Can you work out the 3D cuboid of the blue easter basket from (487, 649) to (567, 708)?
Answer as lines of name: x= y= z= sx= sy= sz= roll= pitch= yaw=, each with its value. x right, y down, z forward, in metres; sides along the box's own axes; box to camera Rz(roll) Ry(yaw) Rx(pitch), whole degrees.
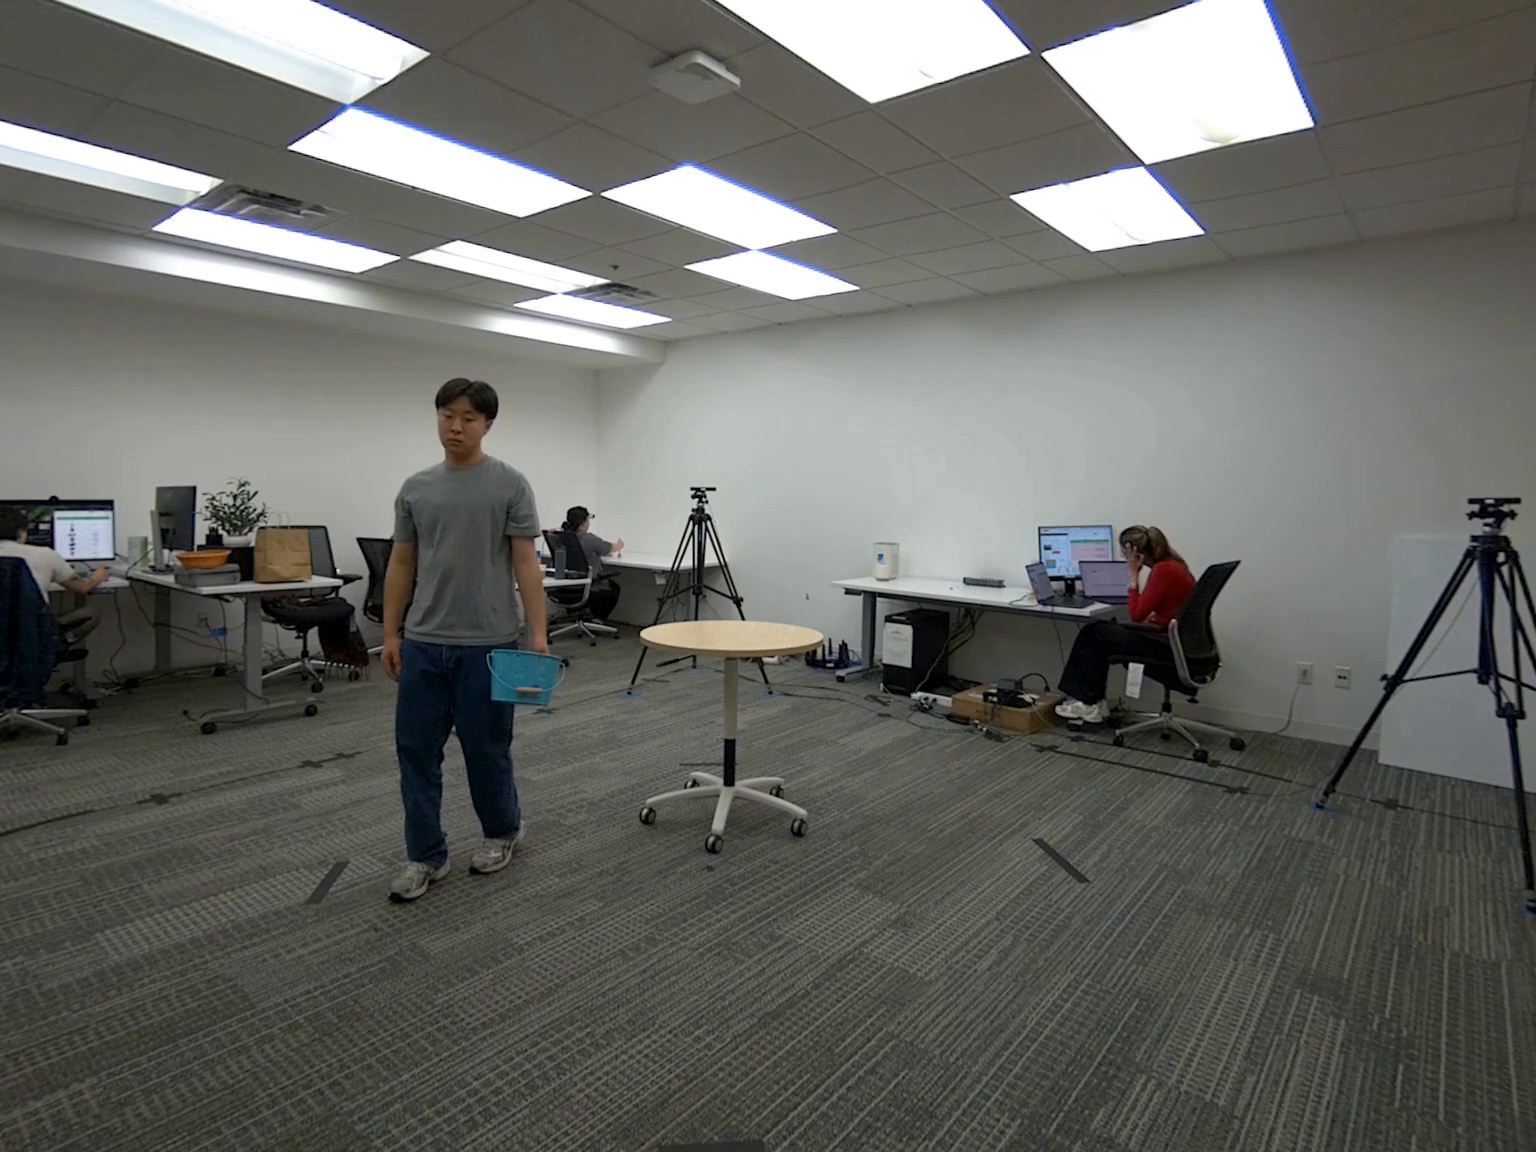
blue easter basket: x=-0.797 y=0.333 z=2.716 sx=0.244 sy=0.158 sz=0.241 roll=5 pitch=-13 yaw=-1
